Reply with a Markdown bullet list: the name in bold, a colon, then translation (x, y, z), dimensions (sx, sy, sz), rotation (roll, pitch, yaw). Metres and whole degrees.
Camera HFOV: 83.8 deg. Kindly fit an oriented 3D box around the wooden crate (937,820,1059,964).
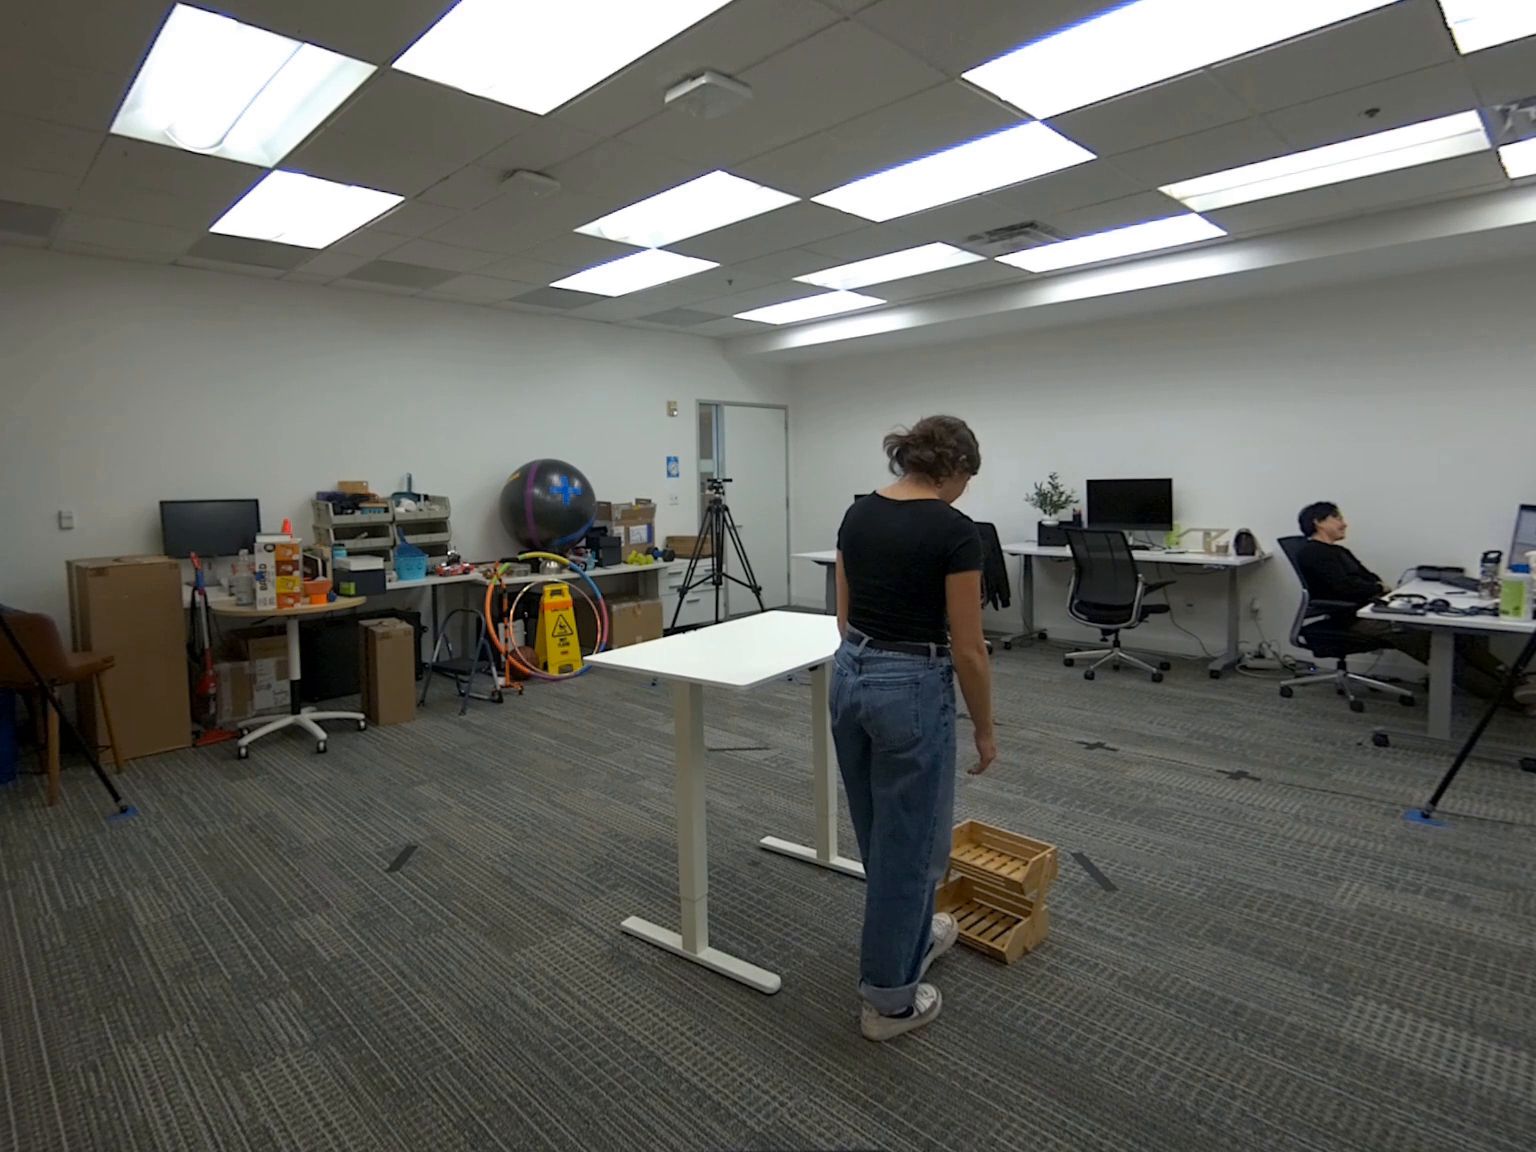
- **wooden crate**: translation (0.679, 0.955, 2.622), dimensions (0.294, 0.272, 0.334), rotation (-5, 7, -43)
